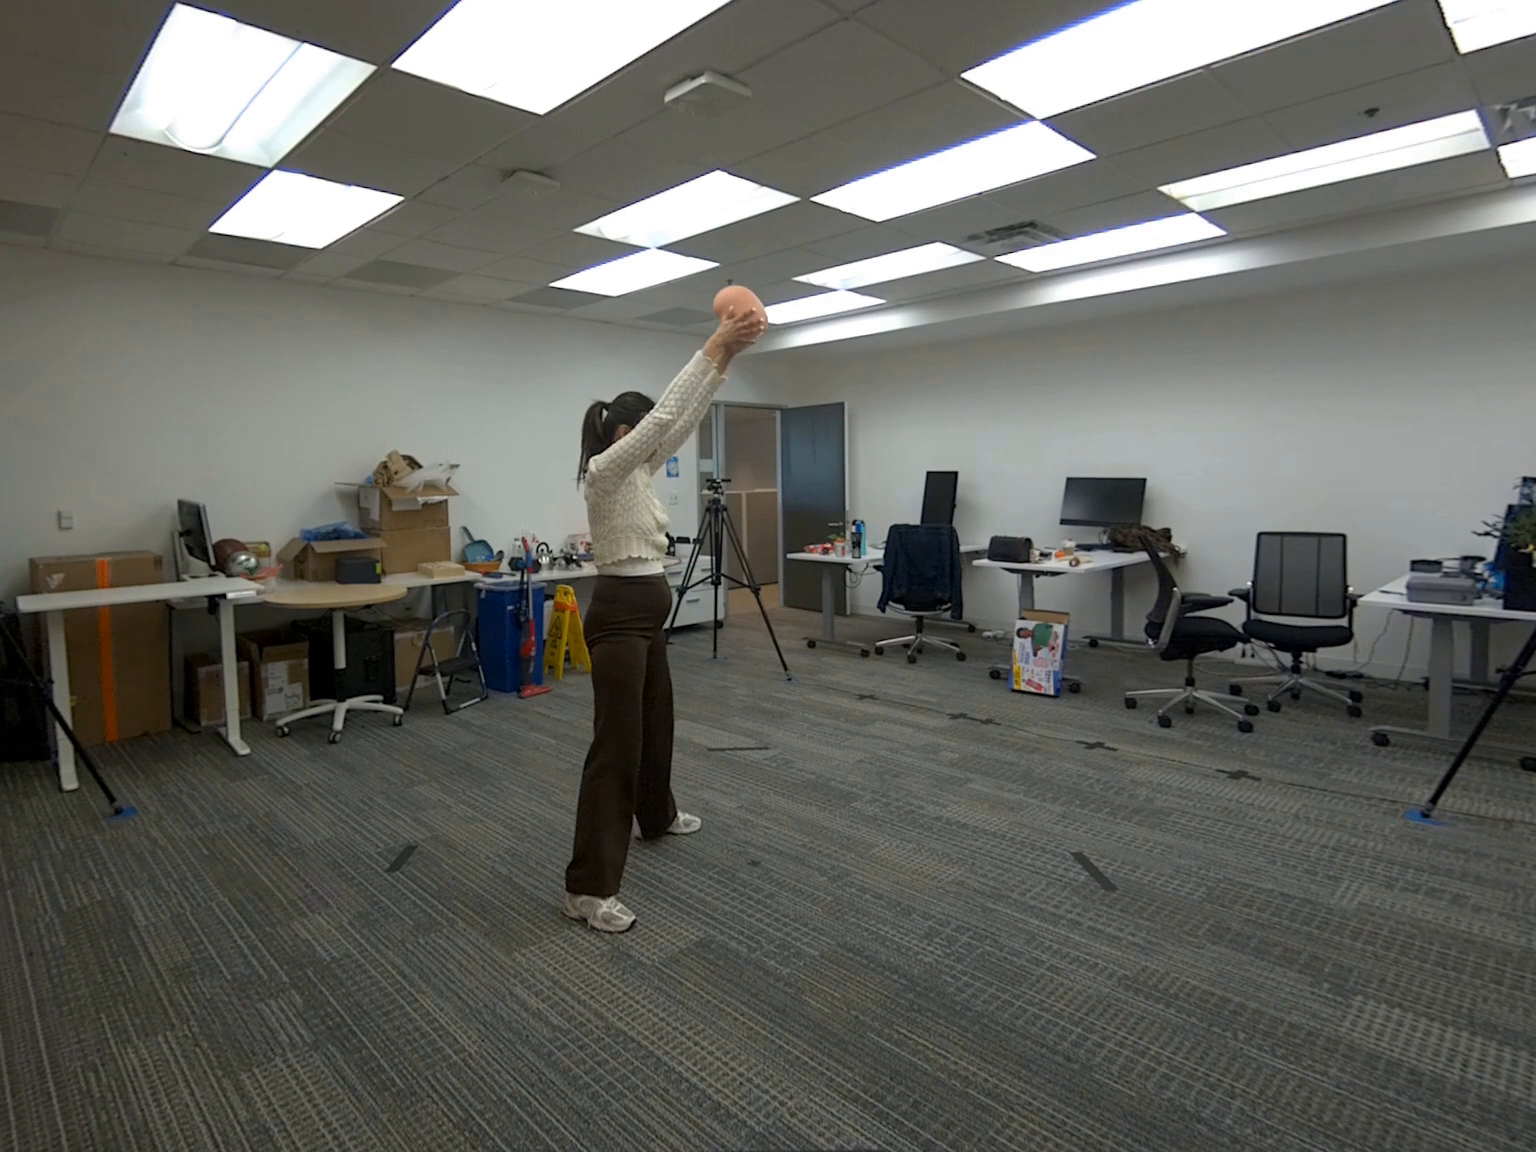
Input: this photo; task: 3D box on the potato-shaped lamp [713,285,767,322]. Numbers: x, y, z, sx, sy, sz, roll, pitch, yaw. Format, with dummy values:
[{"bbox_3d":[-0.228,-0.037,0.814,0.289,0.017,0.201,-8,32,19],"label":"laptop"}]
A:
[{"bbox_3d":[-0.095,-0.869,2.861,0.171,0.197,0.166,-36,6,5],"label":"potato-shaped lamp"}]
